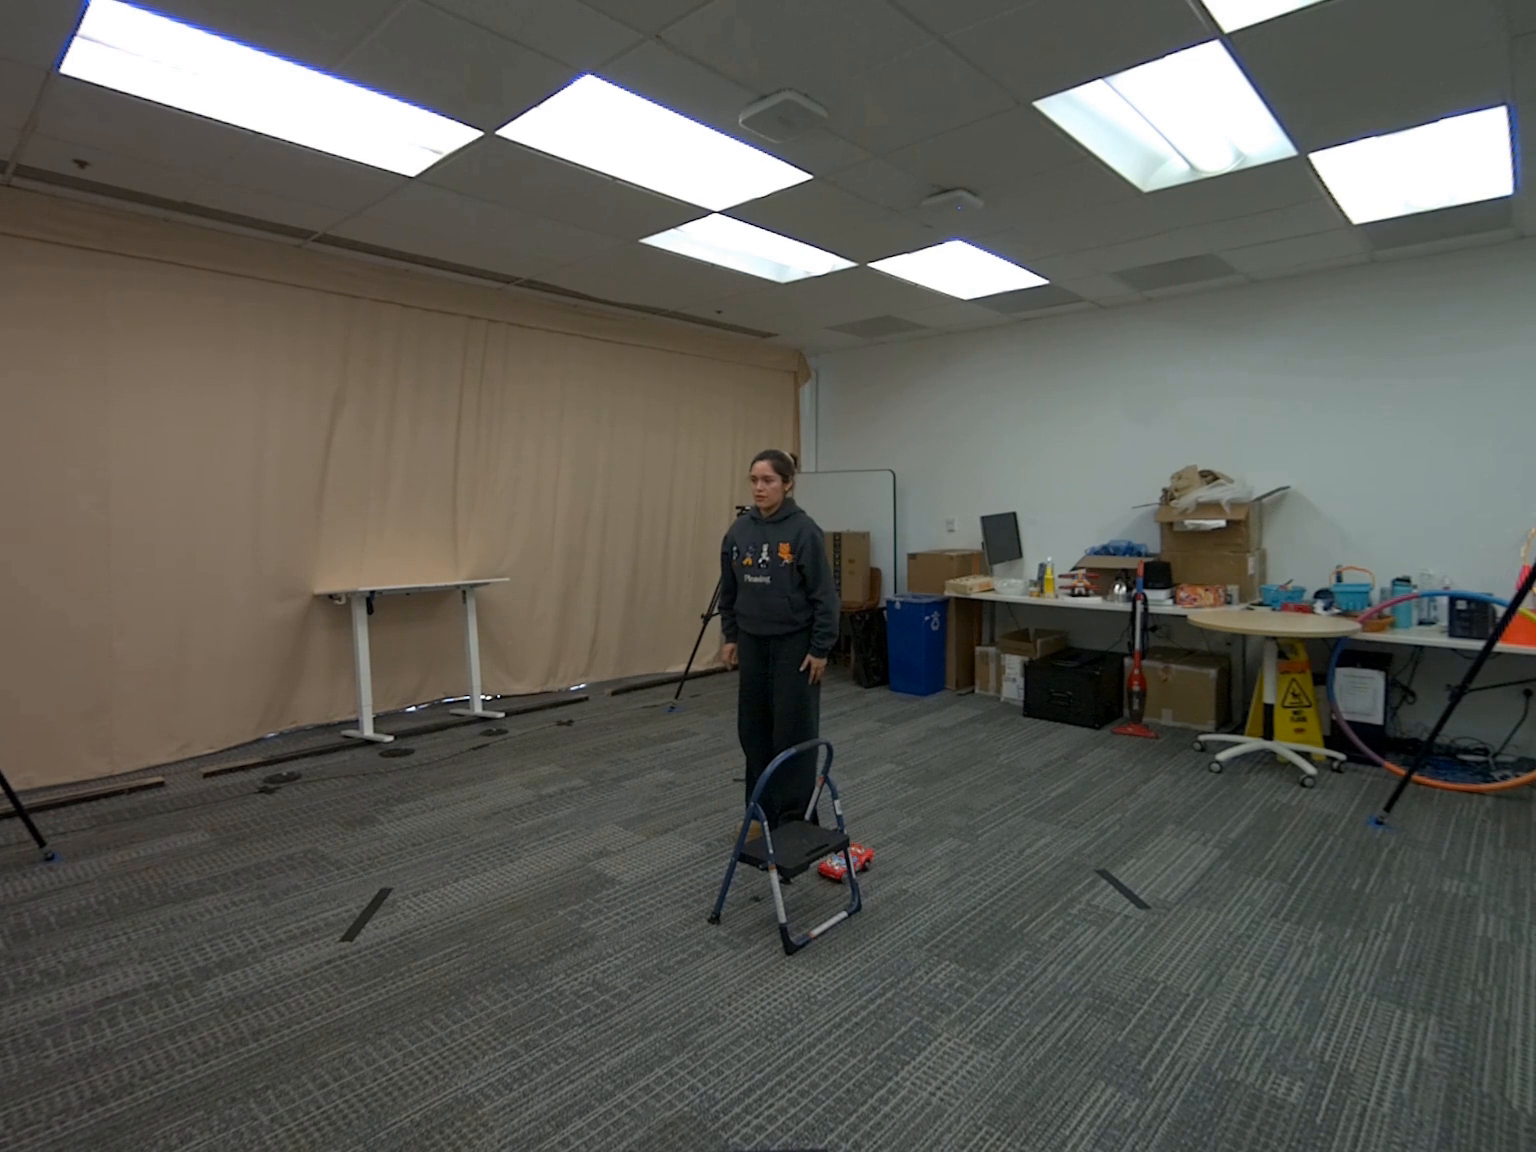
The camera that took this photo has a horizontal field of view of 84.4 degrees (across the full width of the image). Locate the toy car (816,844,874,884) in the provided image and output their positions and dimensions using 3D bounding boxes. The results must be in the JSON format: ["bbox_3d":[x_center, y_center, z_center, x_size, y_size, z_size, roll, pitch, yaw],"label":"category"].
[{"bbox_3d":[0.331,1.087,3.202,0.134,0.082,0.248,3,17,44],"label":"toy car"}]
